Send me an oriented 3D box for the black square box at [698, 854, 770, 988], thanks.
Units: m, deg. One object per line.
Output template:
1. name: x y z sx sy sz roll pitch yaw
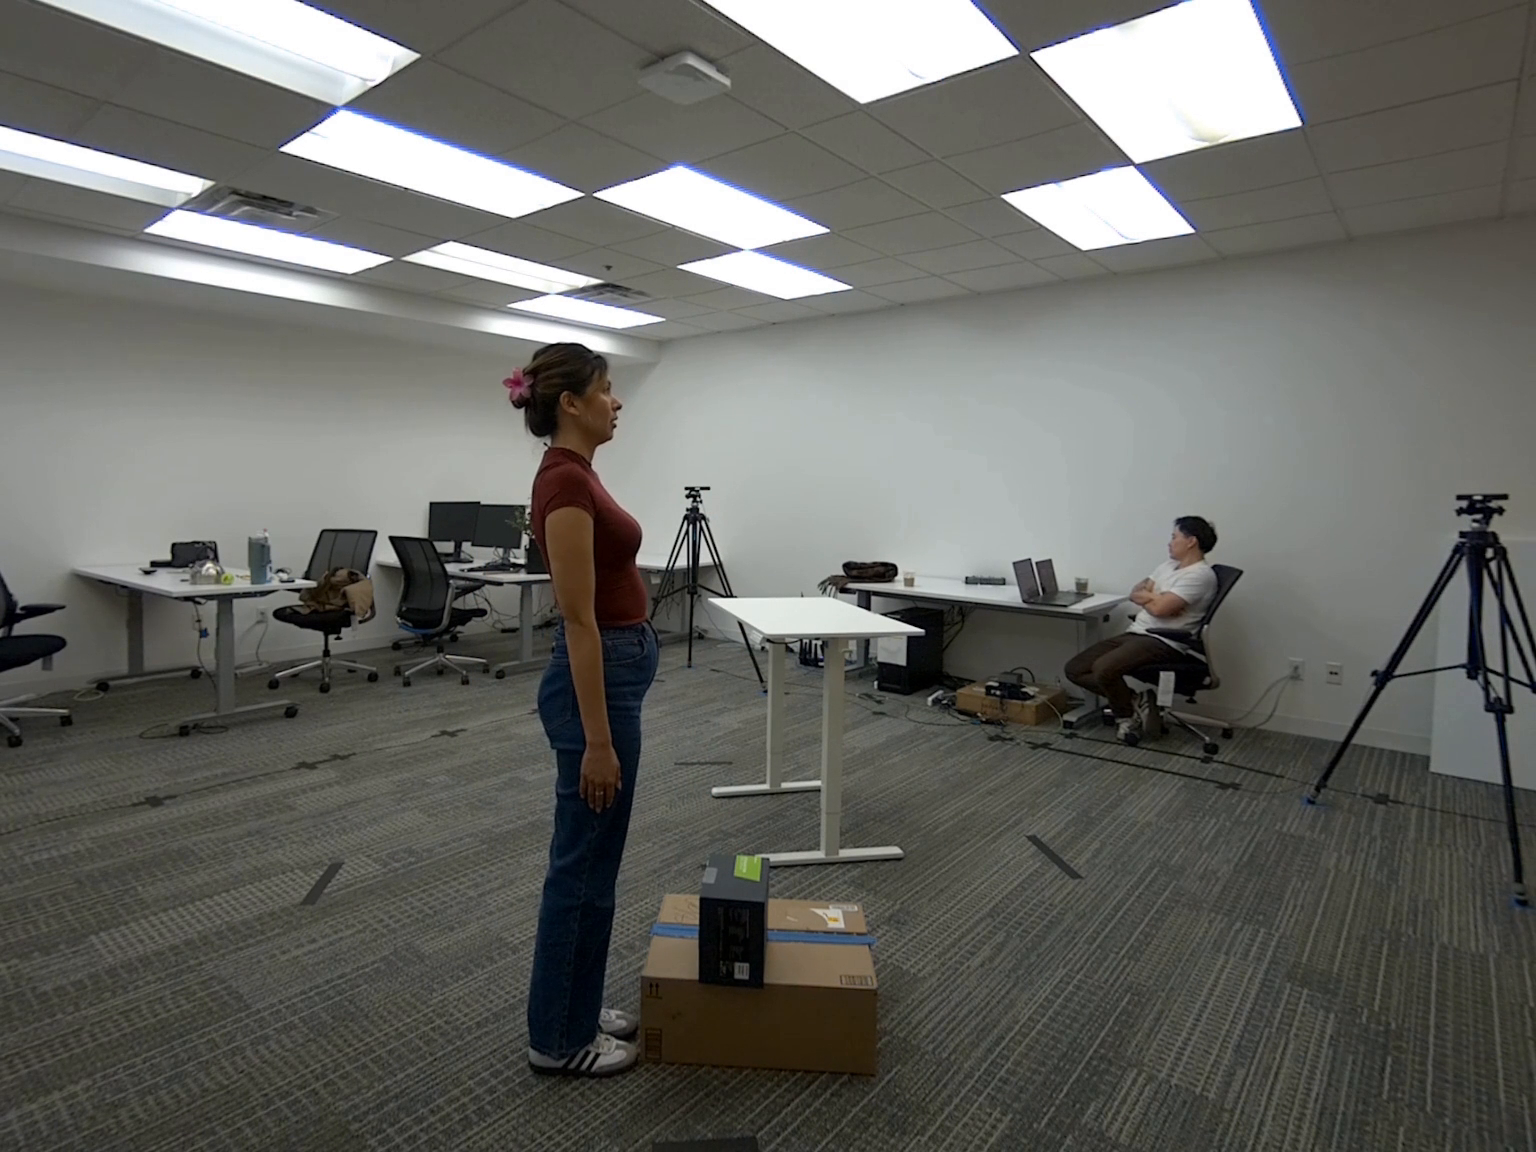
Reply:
1. black square box: -0.088 0.842 2.103 0.157 0.215 0.228 2 8 3
